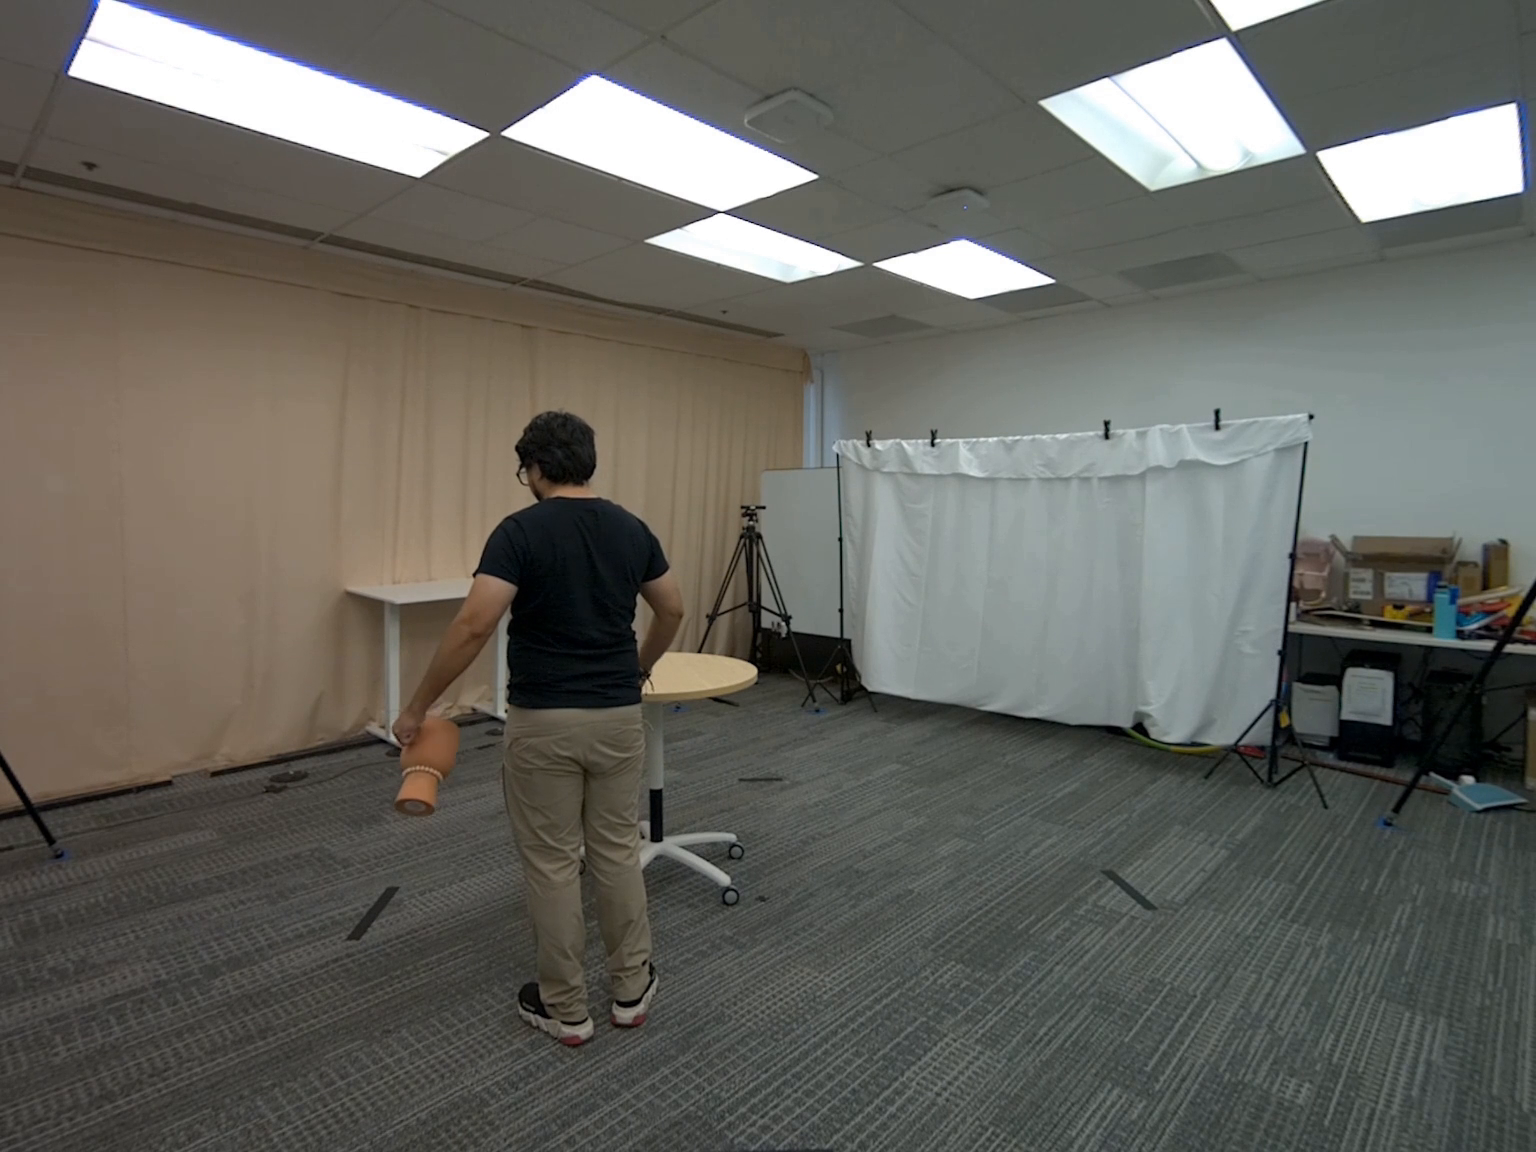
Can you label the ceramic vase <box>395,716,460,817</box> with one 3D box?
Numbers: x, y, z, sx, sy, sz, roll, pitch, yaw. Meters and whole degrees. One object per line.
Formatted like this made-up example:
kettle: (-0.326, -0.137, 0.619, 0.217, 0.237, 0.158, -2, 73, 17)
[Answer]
ceramic vase: (-0.864, 0.482, 2.138, 0.155, 0.224, 0.135, 20, -48, -22)
